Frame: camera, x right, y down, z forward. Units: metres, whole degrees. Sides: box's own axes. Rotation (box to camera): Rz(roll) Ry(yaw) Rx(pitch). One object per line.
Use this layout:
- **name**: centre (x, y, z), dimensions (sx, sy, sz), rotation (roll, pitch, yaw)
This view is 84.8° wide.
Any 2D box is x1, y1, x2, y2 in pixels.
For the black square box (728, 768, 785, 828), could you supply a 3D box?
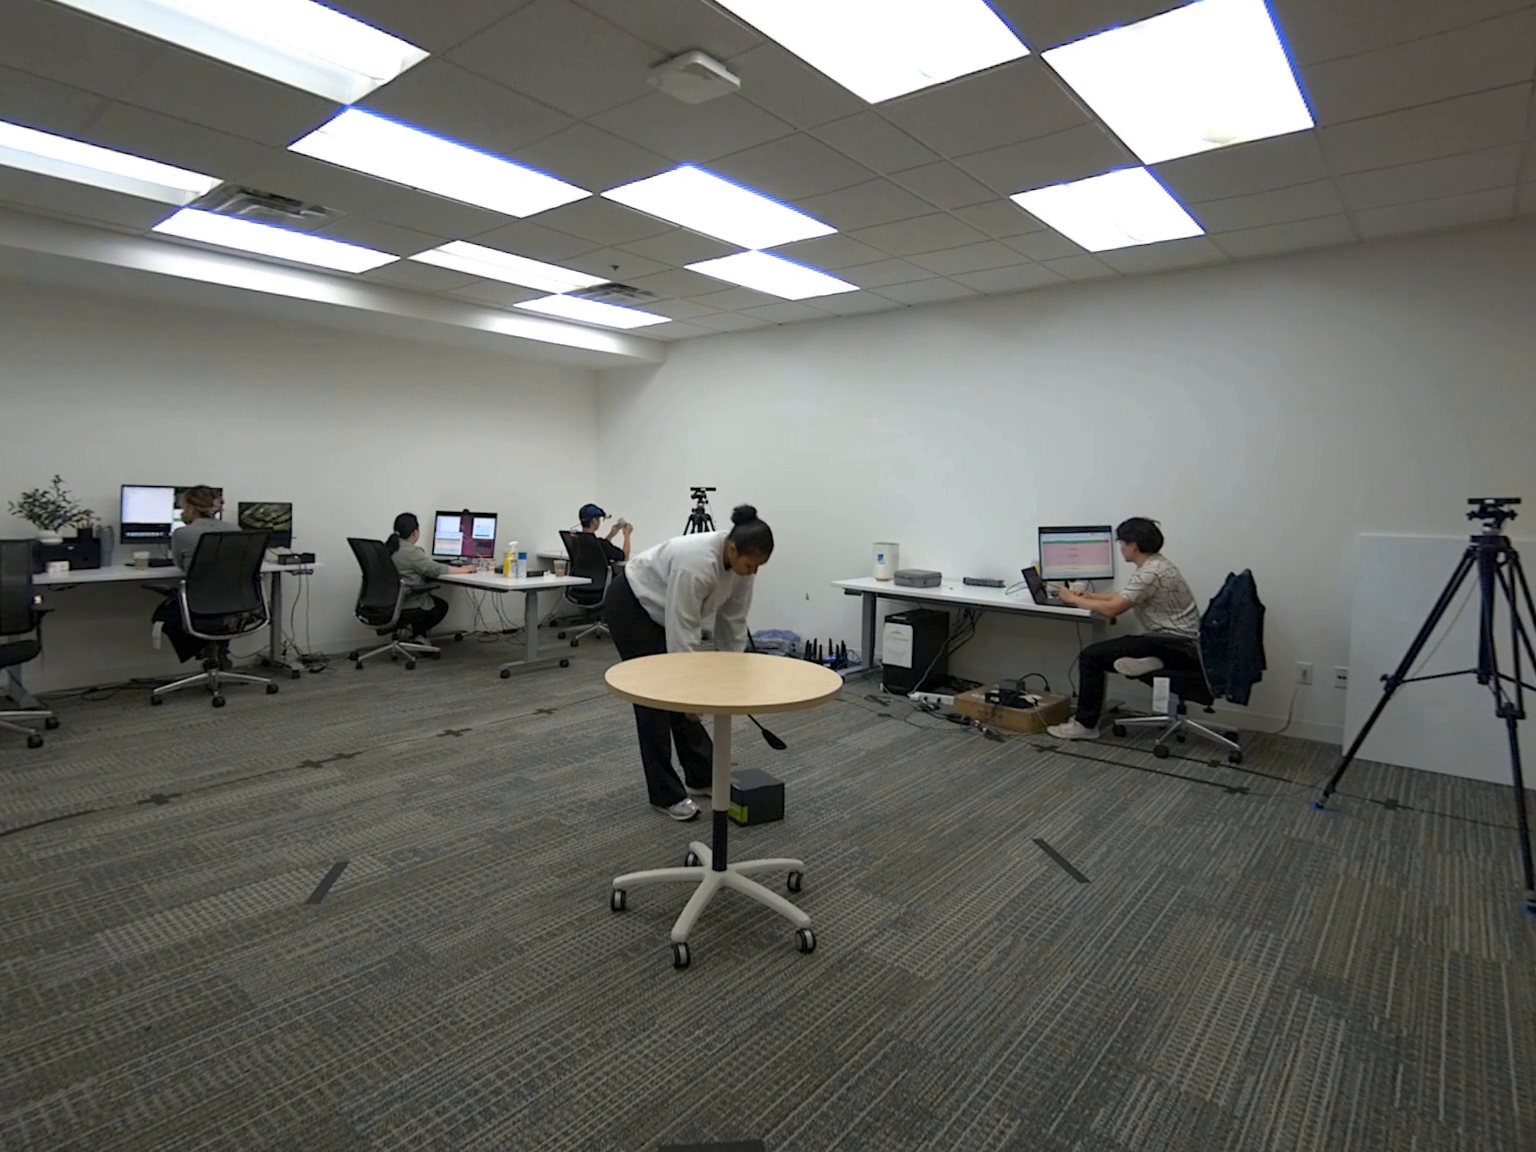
- **black square box**: centre (-0.091, 0.935, 3.629), dimensions (0.211, 0.155, 0.235), rotation (-2, 6, -31)
